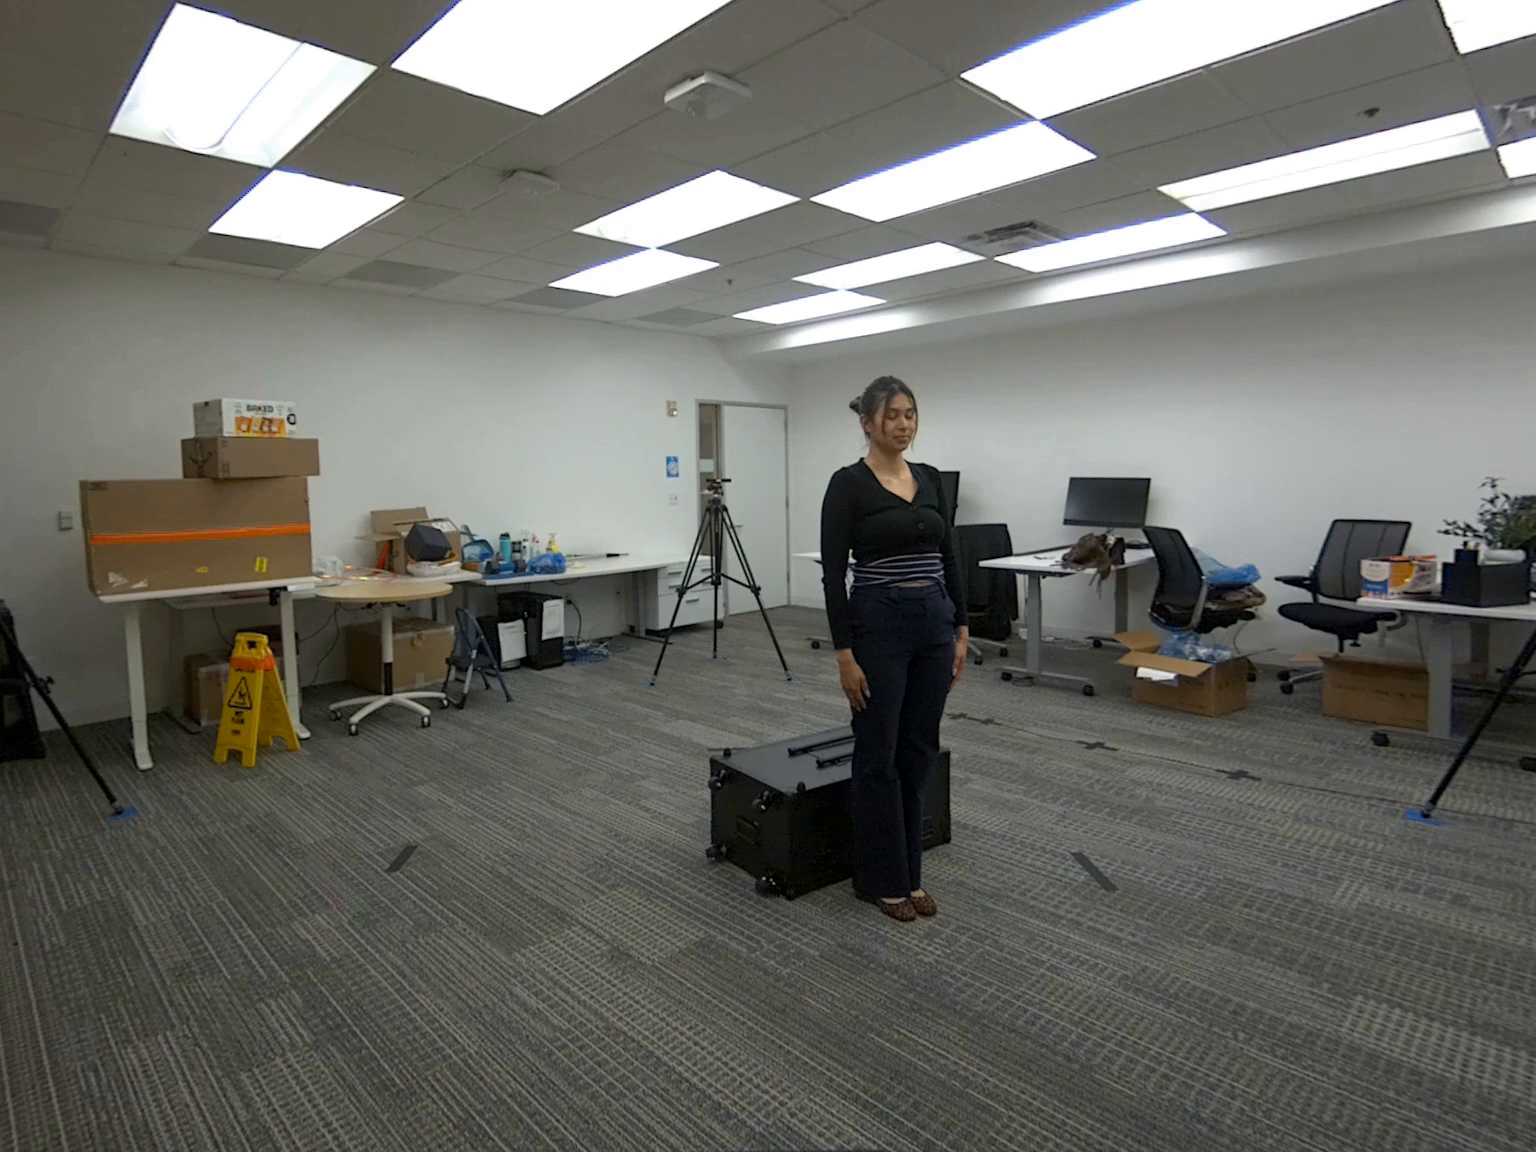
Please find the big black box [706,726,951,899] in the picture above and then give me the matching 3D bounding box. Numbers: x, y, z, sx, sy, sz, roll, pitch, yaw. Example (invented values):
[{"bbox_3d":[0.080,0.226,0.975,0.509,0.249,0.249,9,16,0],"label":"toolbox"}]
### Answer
[{"bbox_3d":[0.262,0.848,3.239,0.840,0.394,0.537,-5,7,-35],"label":"big black box"}]
